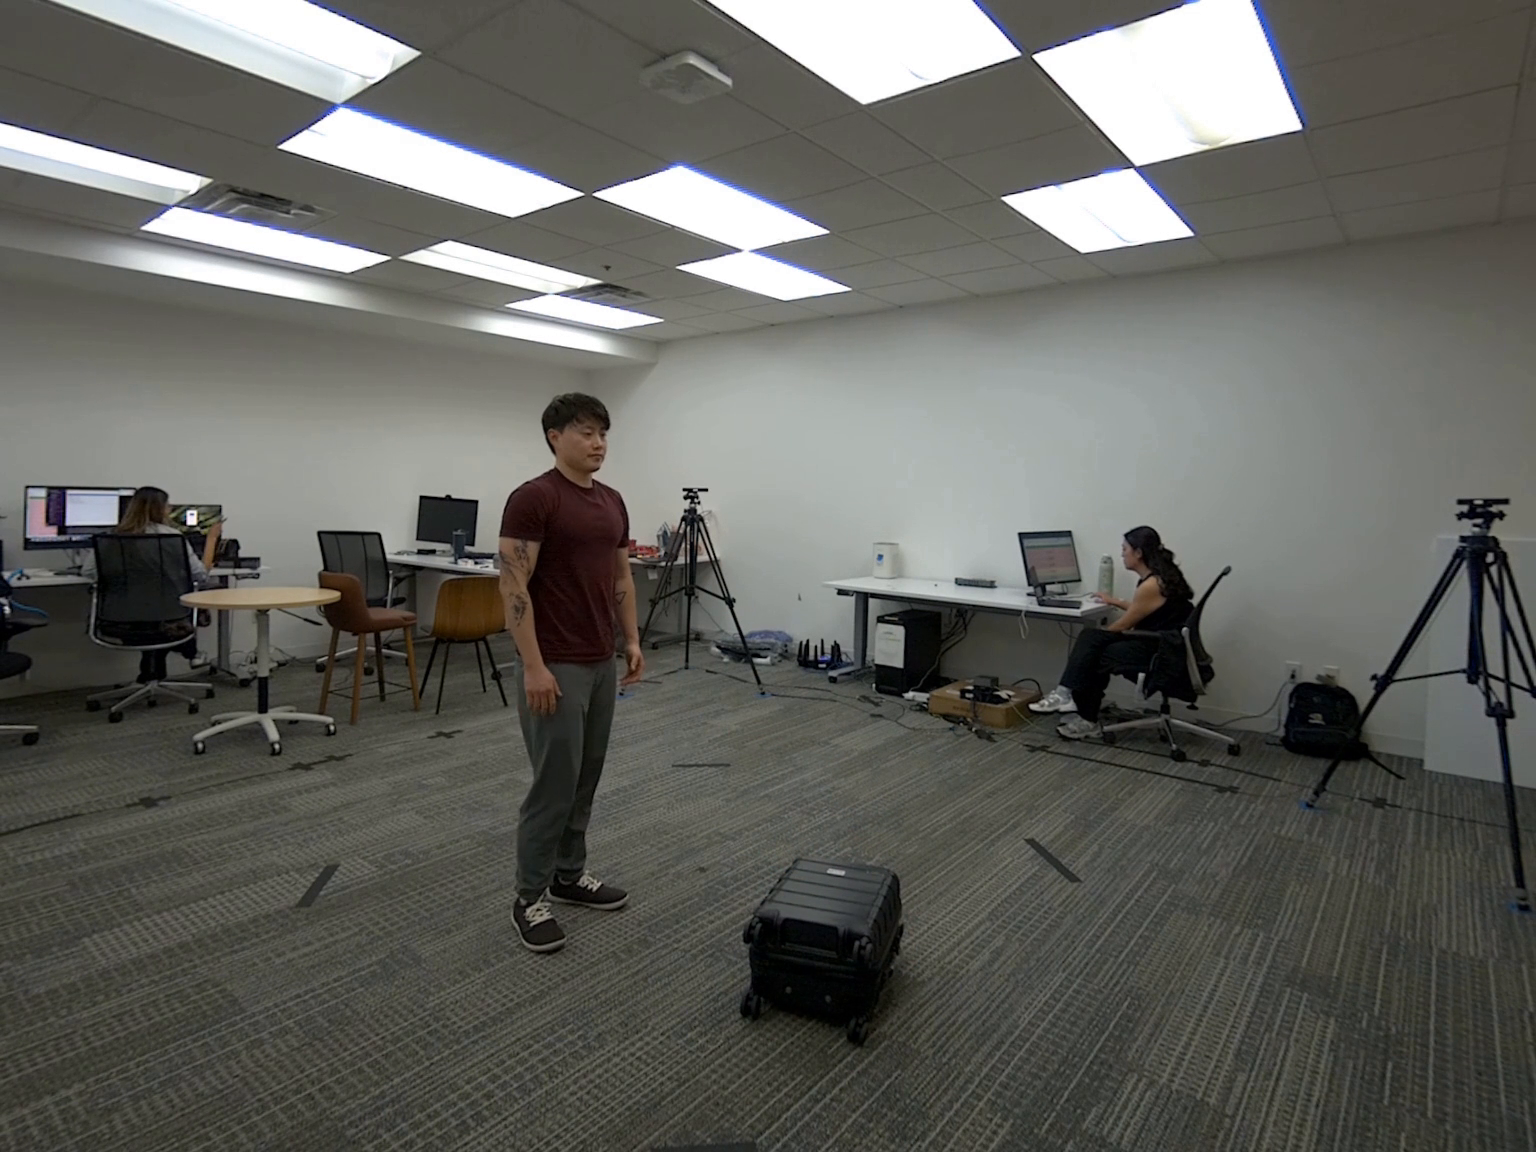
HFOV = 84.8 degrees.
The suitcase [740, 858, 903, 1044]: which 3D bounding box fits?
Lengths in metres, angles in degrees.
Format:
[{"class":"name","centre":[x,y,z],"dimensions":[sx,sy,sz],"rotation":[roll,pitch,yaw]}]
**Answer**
[{"class":"suitcase","centre":[0.227,0.998,2.624],"dimensions":[0.392,0.256,0.962],"rotation":[1,5,18]}]
